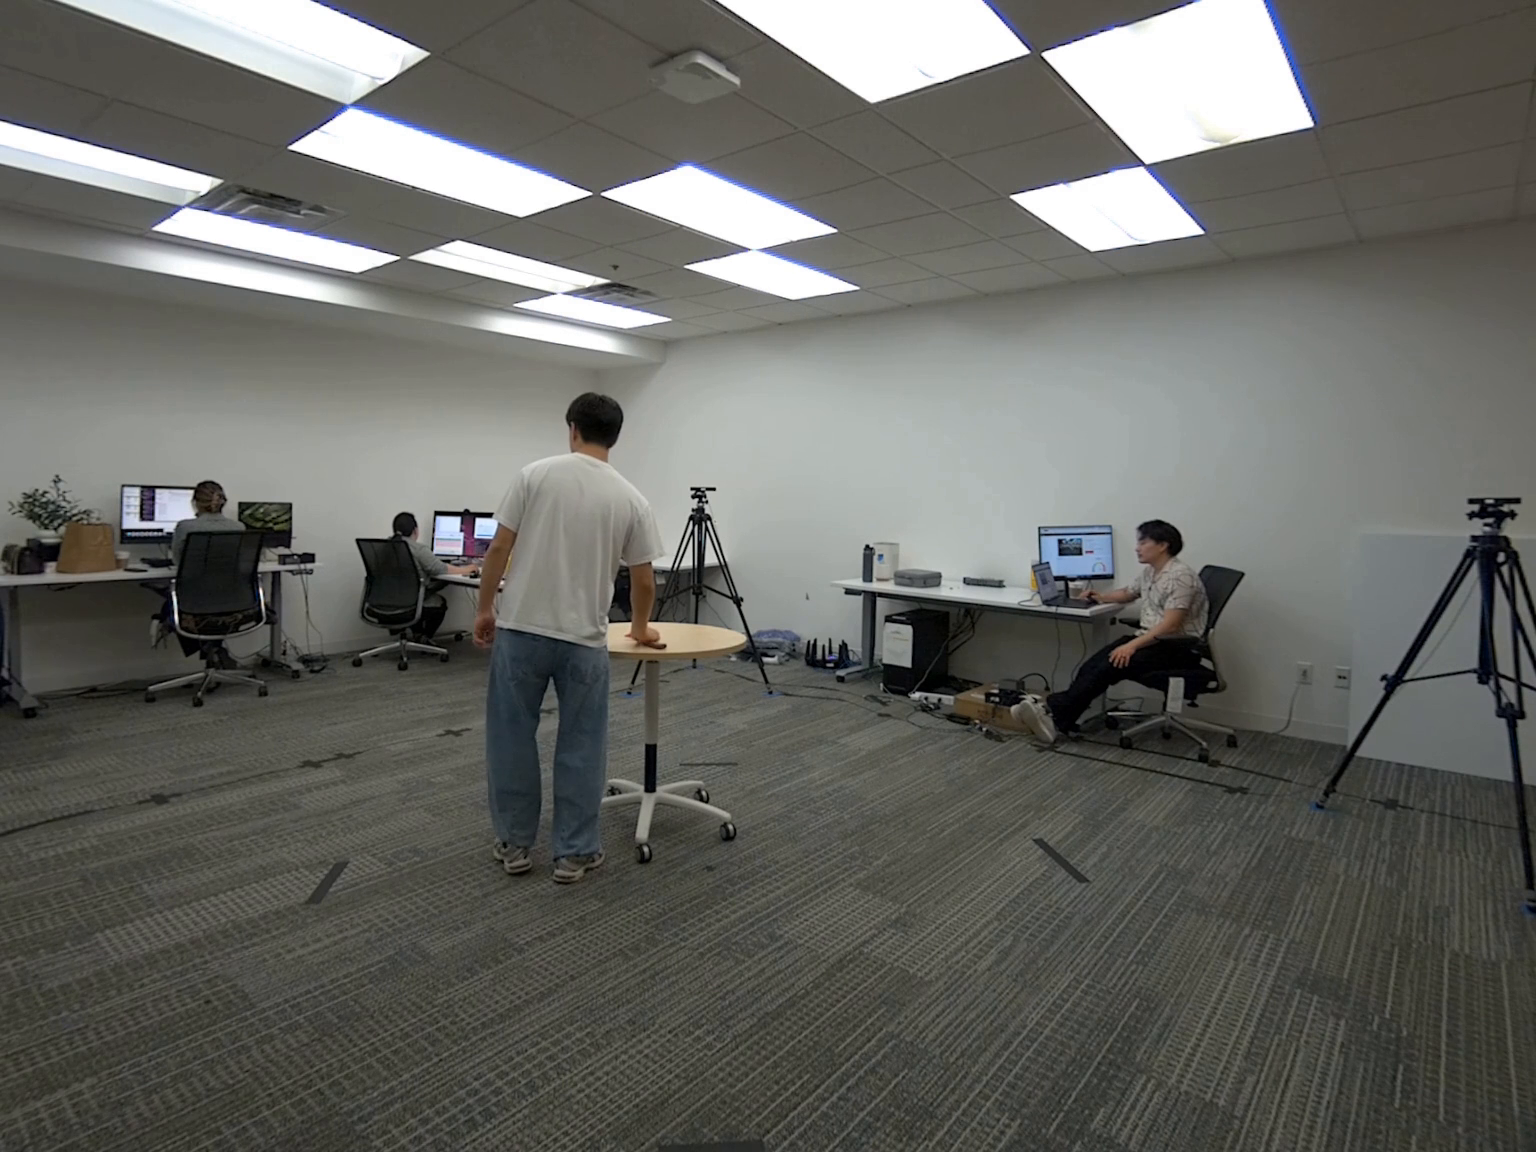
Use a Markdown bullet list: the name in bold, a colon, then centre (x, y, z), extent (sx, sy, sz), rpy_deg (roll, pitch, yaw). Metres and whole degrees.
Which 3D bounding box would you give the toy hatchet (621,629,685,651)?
- **toy hatchet**: centre (-0.456, 0.246, 3.295), extent (0.127, 0.029, 0.279), rpy_deg (-2, 8, -35)
